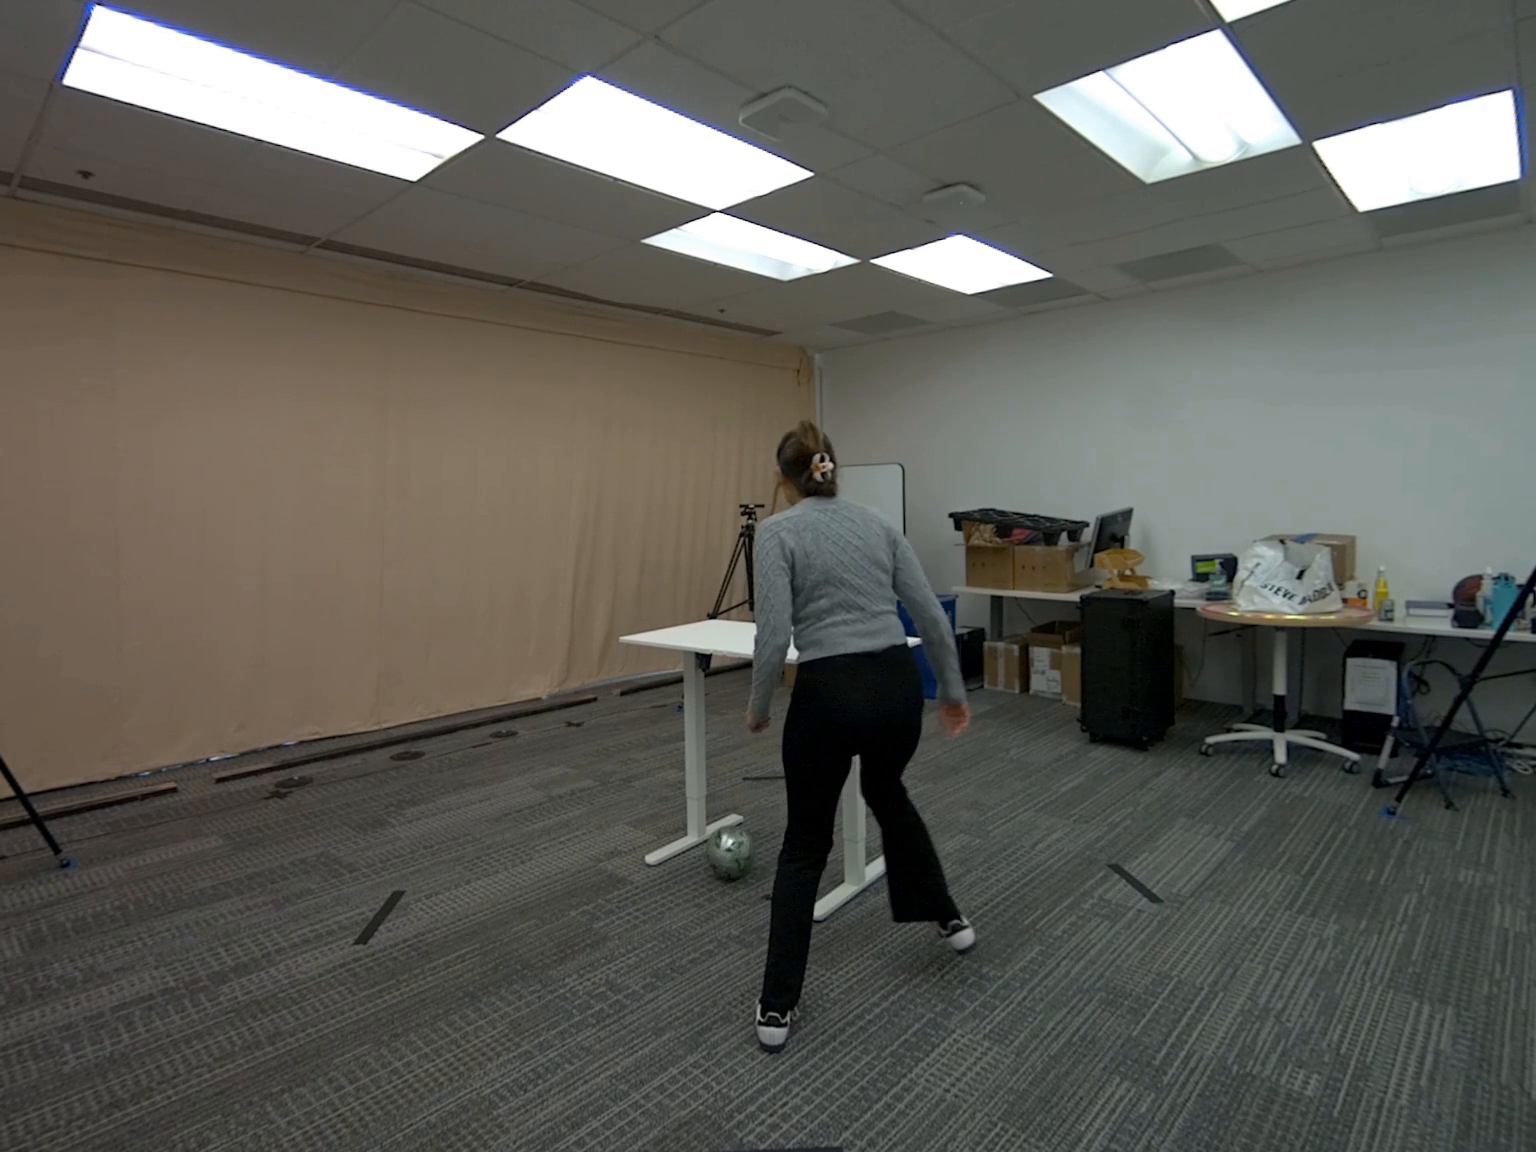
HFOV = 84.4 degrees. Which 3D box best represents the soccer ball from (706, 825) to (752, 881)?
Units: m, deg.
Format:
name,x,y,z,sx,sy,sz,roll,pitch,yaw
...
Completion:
name,x,y,z,sx,sy,sz,roll,pitch,yaw
soccer ball,-0.143,1.033,3.152,0.187,0.187,0.188,-1,4,-2
